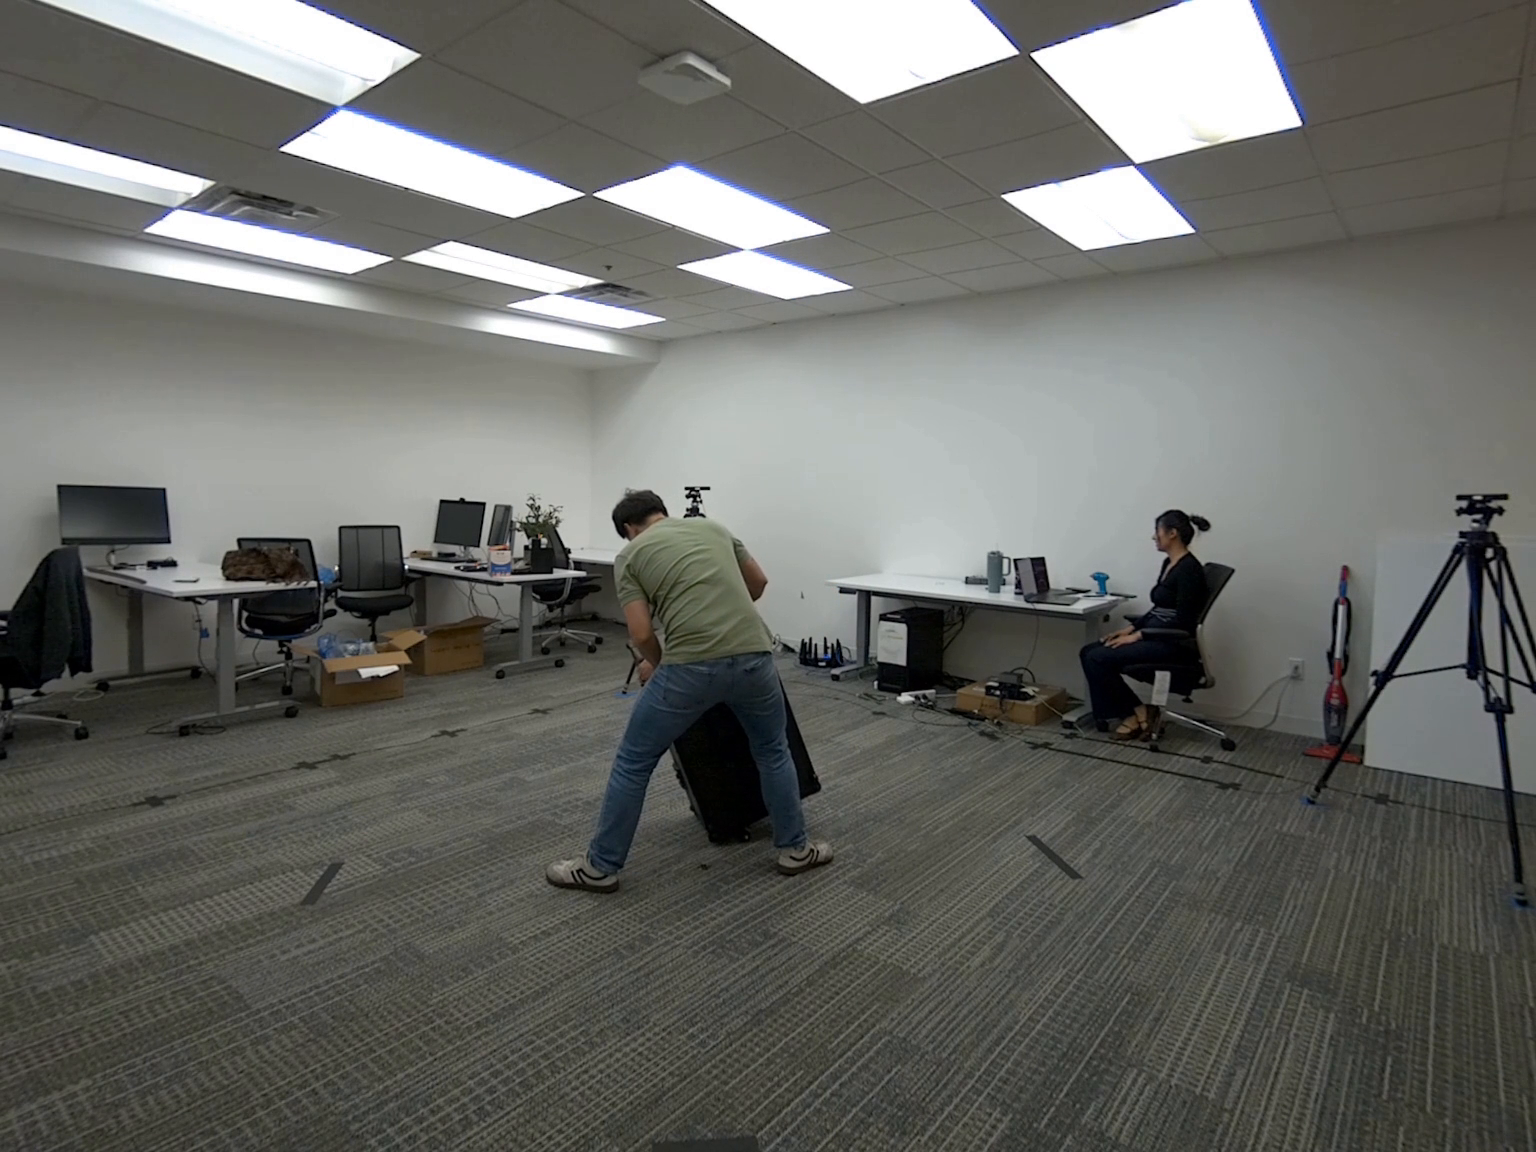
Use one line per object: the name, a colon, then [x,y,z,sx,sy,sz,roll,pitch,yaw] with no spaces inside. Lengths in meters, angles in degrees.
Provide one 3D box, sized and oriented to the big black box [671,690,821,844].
big black box: [-0.174,0.596,3.442,0.517,0.851,0.404,-23,10,-13]
